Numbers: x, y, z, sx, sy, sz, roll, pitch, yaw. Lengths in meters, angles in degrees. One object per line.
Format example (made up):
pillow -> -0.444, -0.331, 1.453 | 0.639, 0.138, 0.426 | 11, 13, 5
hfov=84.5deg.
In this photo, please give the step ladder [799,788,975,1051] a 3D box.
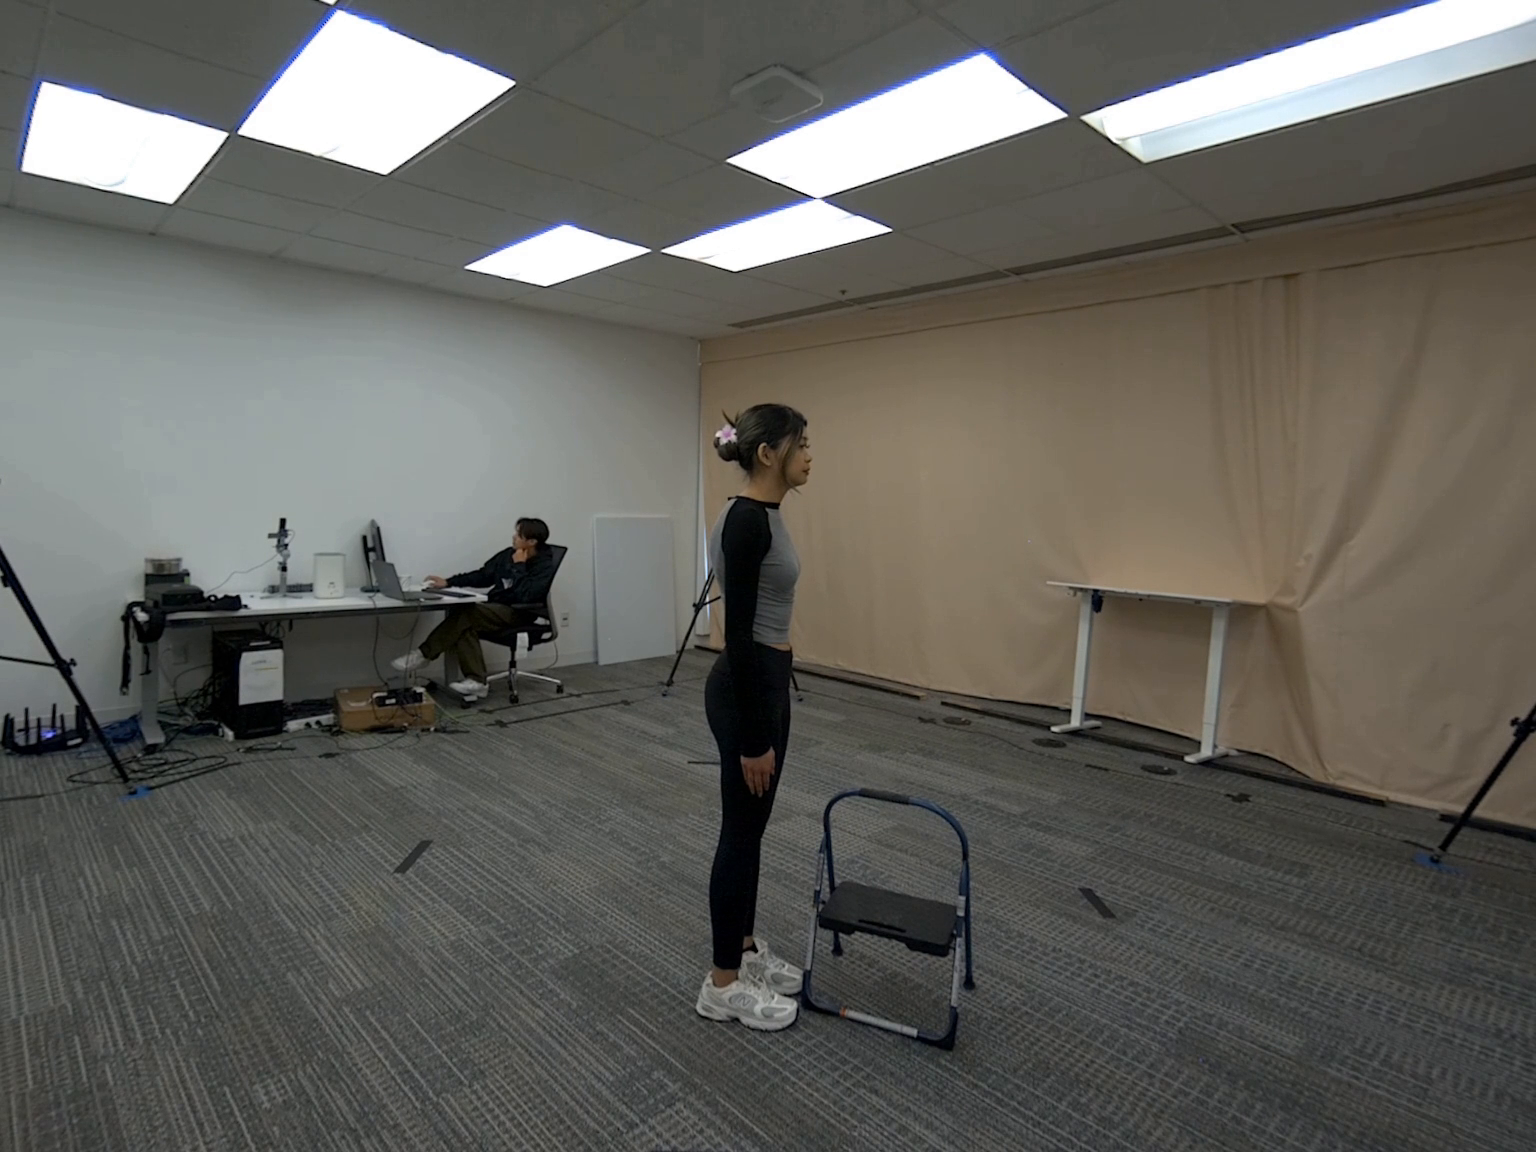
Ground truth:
step ladder -> 0.345, 0.889, 2.360 | 0.438, 0.605, 0.344 | 2, 4, 23
